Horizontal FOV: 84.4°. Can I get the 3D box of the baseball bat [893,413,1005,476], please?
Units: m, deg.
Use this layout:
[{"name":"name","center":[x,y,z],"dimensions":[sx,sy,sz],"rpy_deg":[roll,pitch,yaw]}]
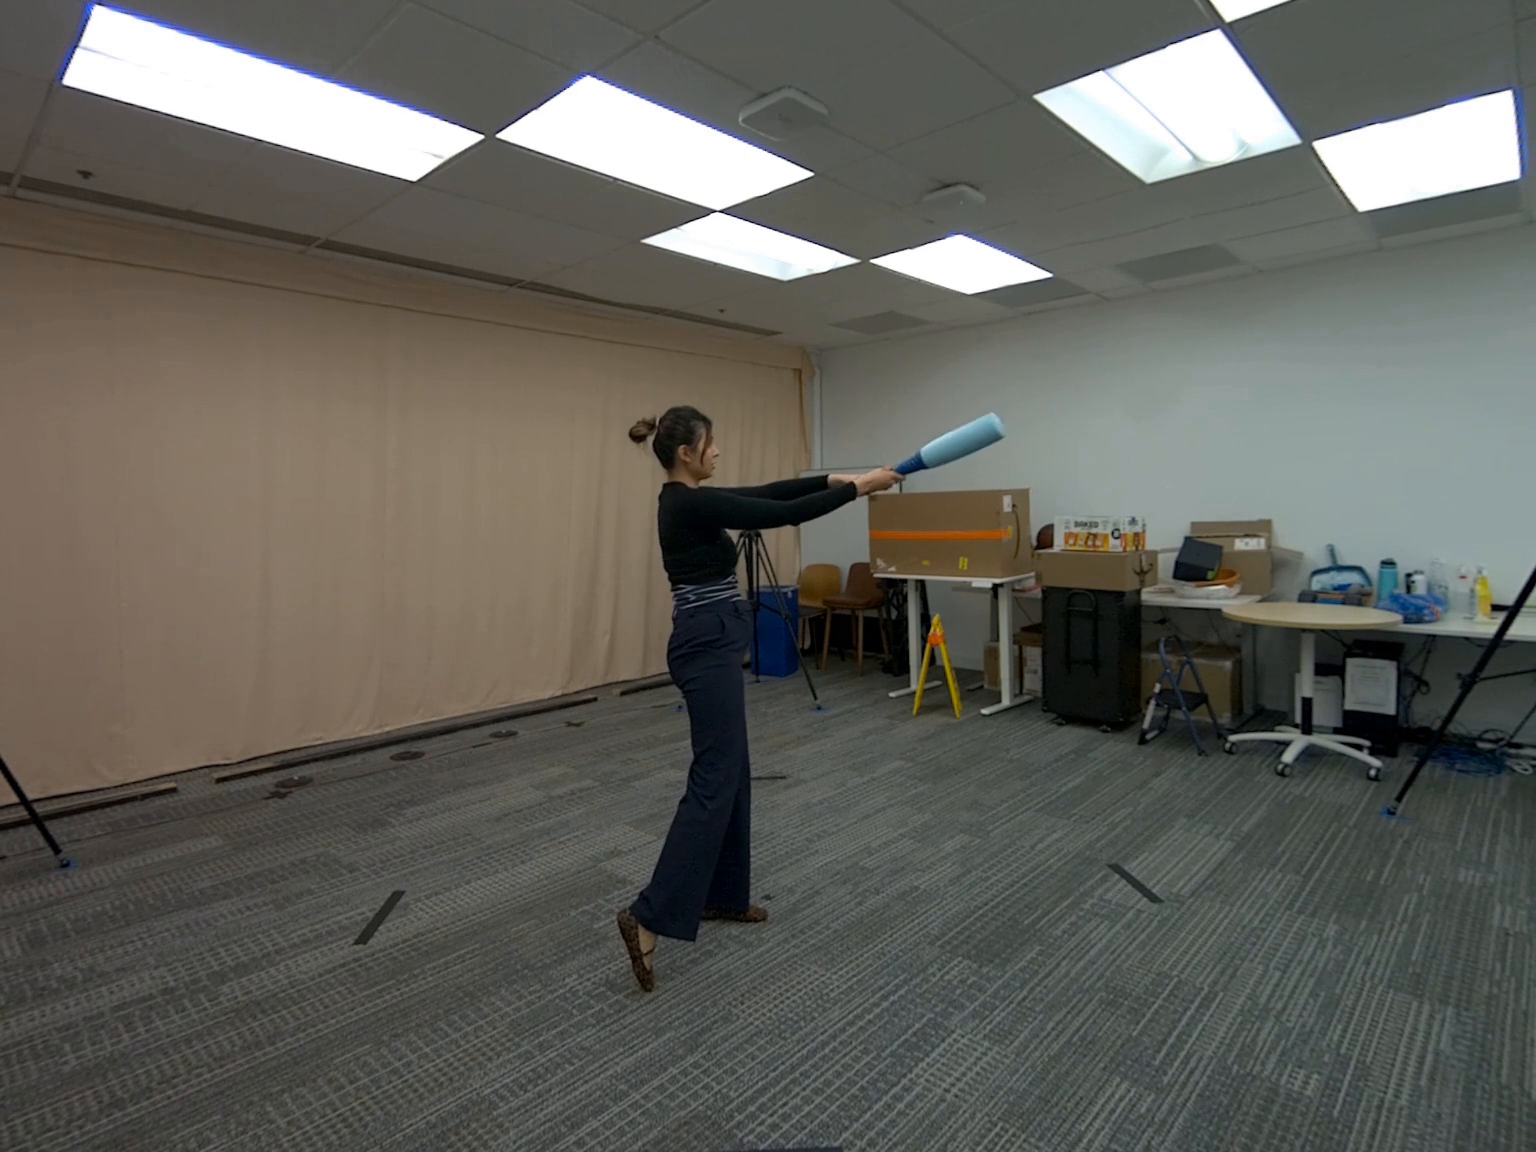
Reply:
[{"name":"baseball bat","center":[0.458,-0.350,2.655],"dimensions":[0.554,0.090,0.086],"rpy_deg":[-22,-8,31]}]
